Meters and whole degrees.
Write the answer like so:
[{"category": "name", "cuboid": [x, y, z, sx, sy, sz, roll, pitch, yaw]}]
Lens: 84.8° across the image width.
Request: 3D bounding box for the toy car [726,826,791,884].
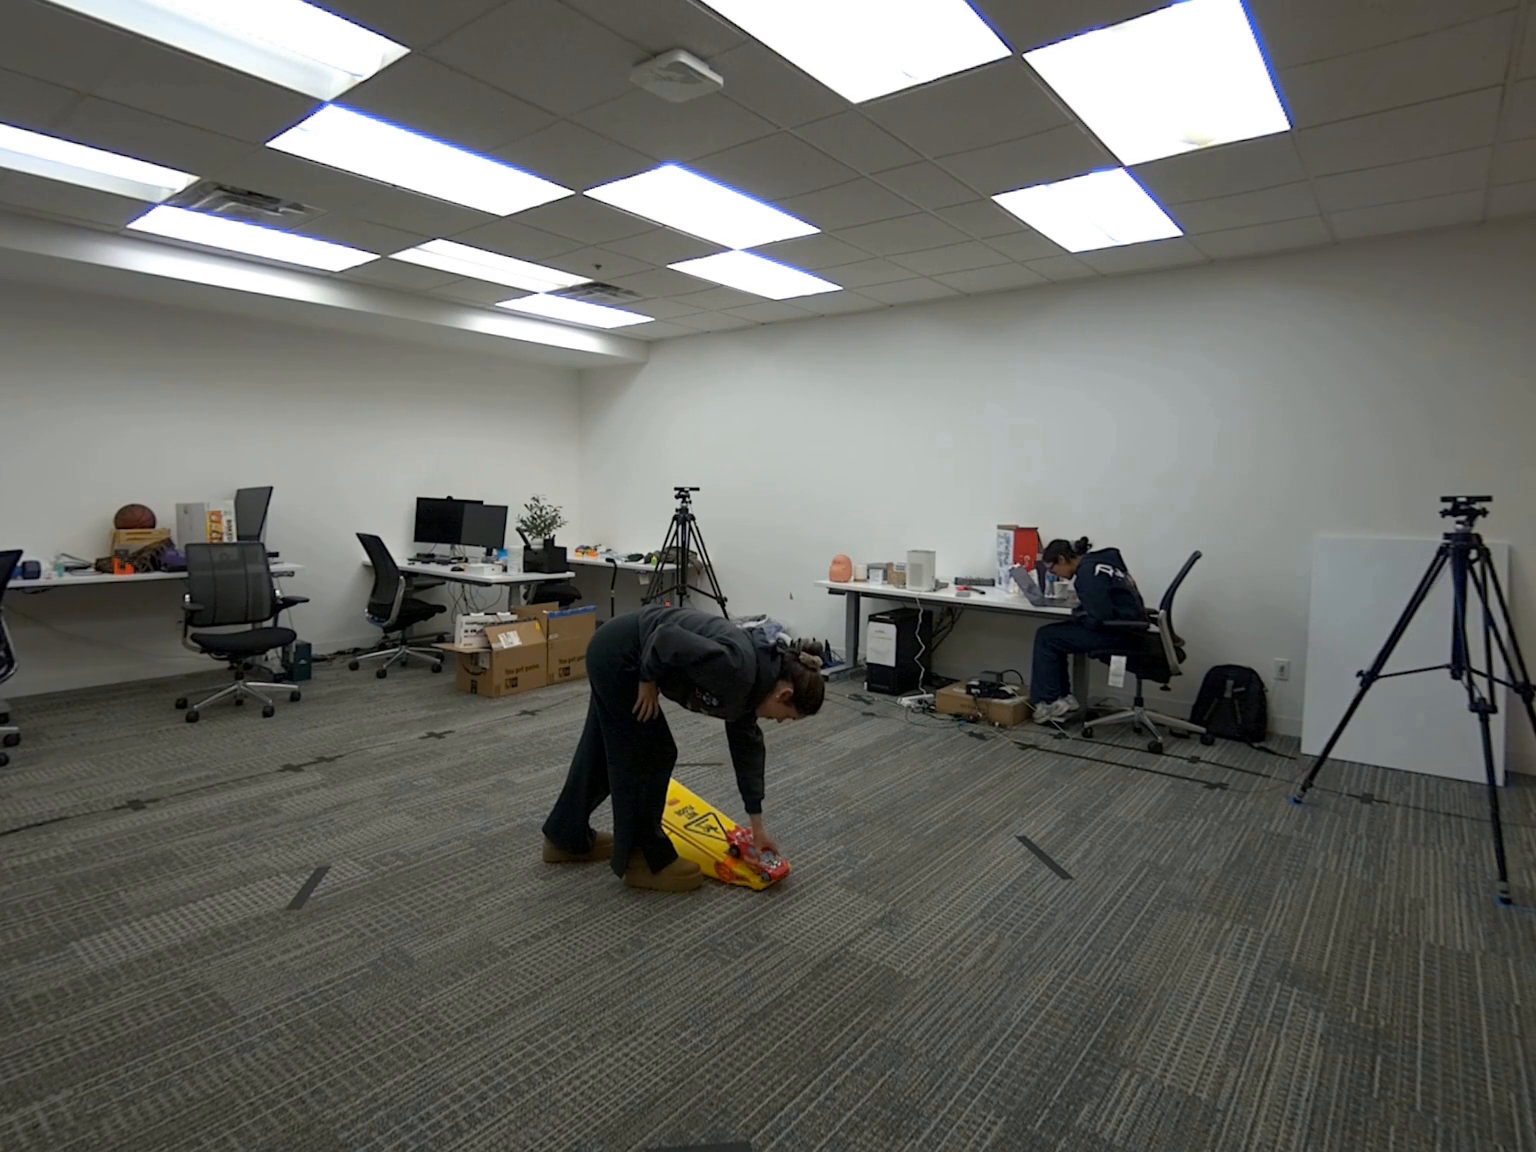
[{"category": "toy car", "cuboid": [-0.045, 0.989, 3.029, 0.264, 0.082, 0.127, 40, 28, 29]}]
